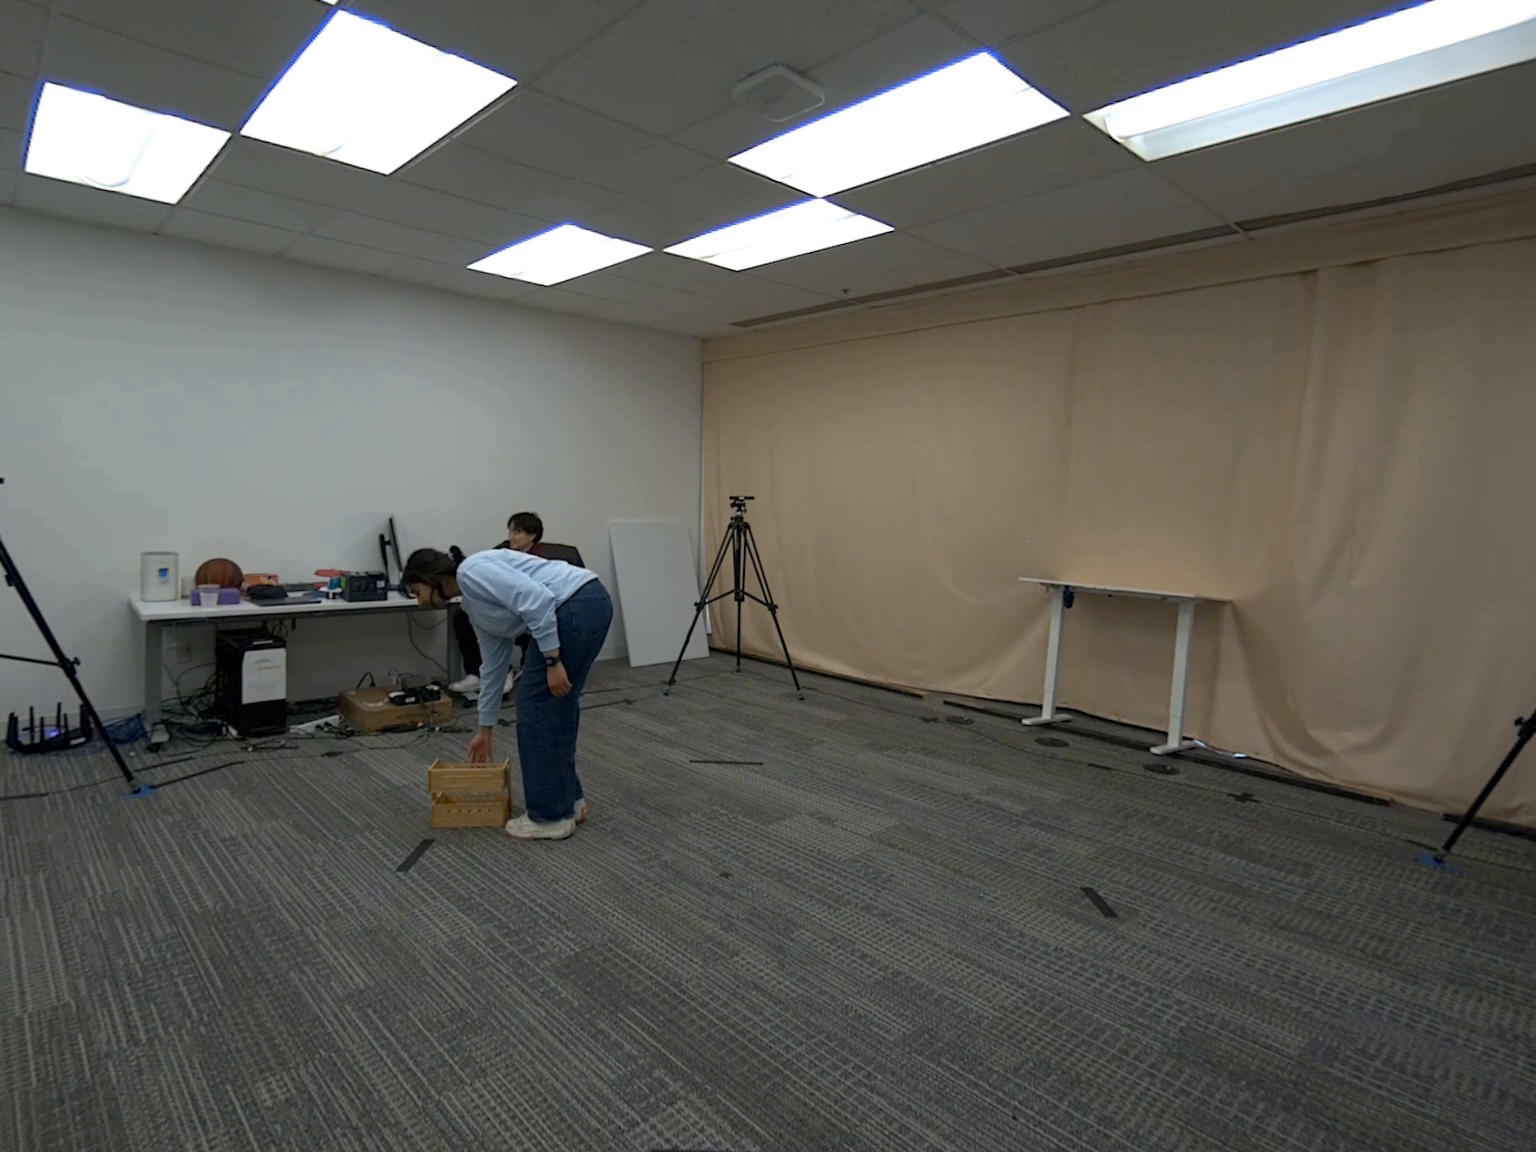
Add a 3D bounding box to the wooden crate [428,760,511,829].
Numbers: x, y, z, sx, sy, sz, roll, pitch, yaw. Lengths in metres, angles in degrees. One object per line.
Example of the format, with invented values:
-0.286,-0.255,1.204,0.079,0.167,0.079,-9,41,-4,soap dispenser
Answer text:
-1.262,0.898,3.597,0.322,0.272,0.305,1,5,-8,wooden crate
